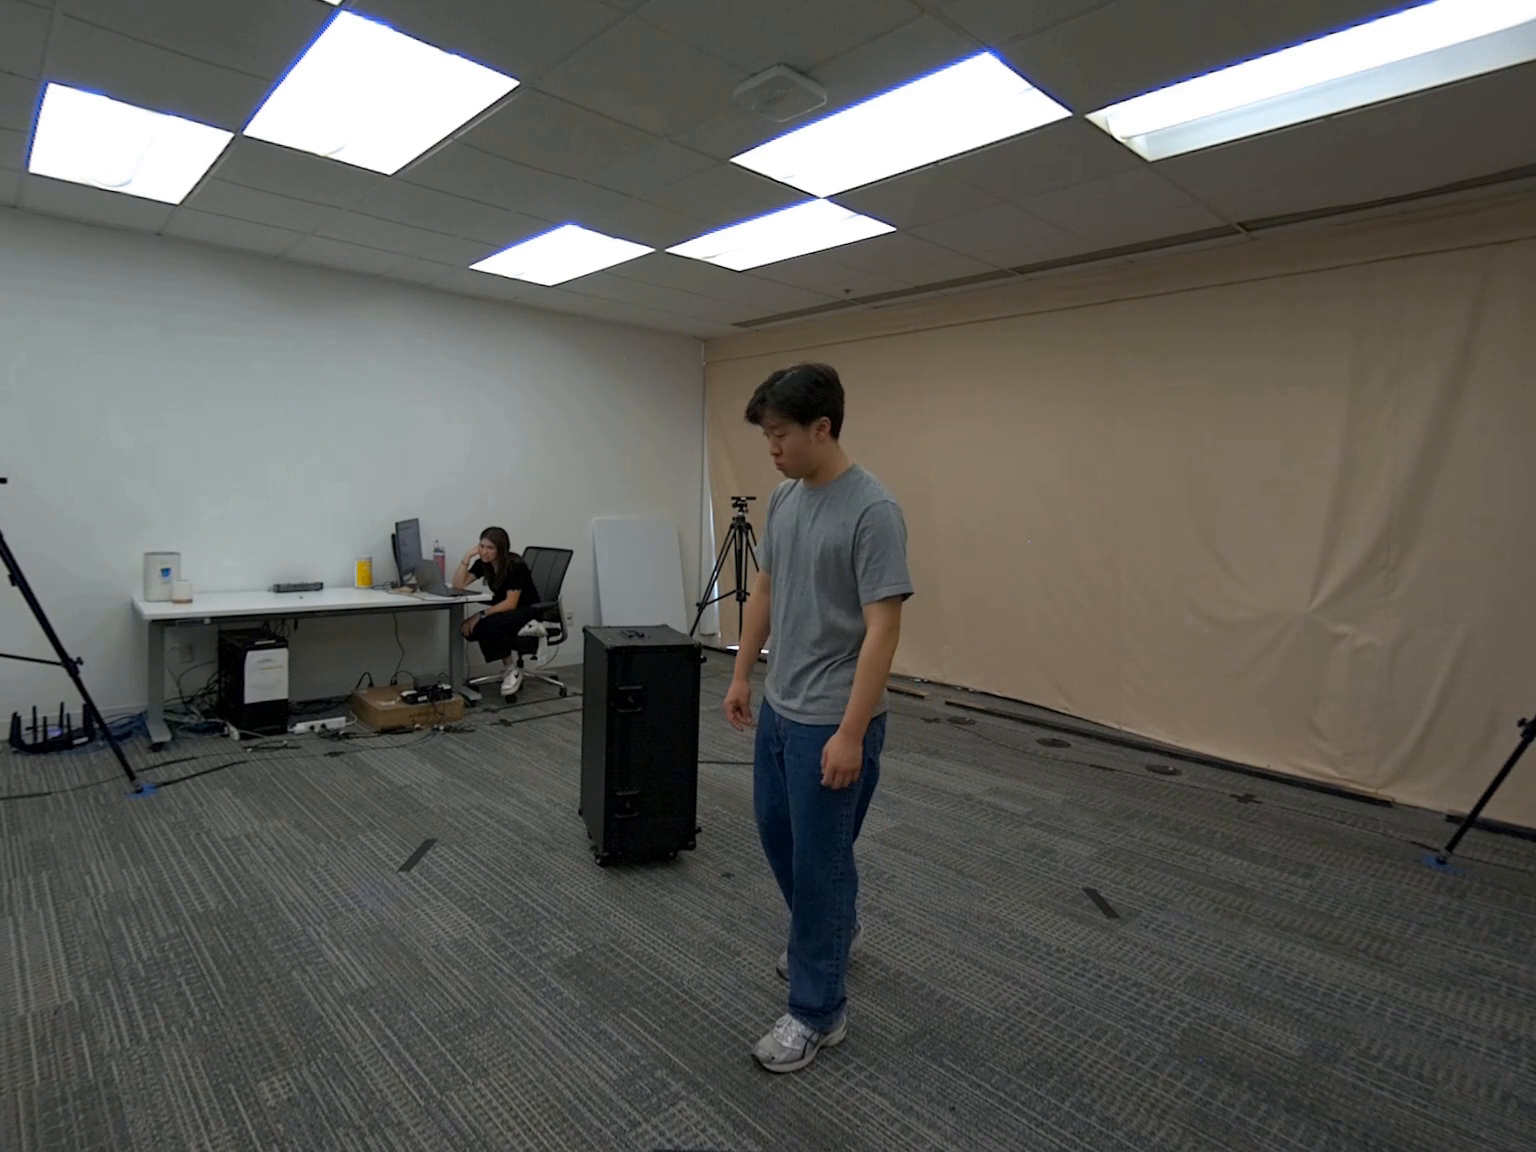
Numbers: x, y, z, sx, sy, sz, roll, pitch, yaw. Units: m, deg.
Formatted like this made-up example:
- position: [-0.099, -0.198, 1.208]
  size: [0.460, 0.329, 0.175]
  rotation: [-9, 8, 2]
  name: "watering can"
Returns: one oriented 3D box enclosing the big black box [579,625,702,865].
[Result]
- position: [-0.514, 0.651, 3.313]
  size: [0.390, 0.860, 0.531]
  rotation: [2, 3, -22]
  name: "big black box"
